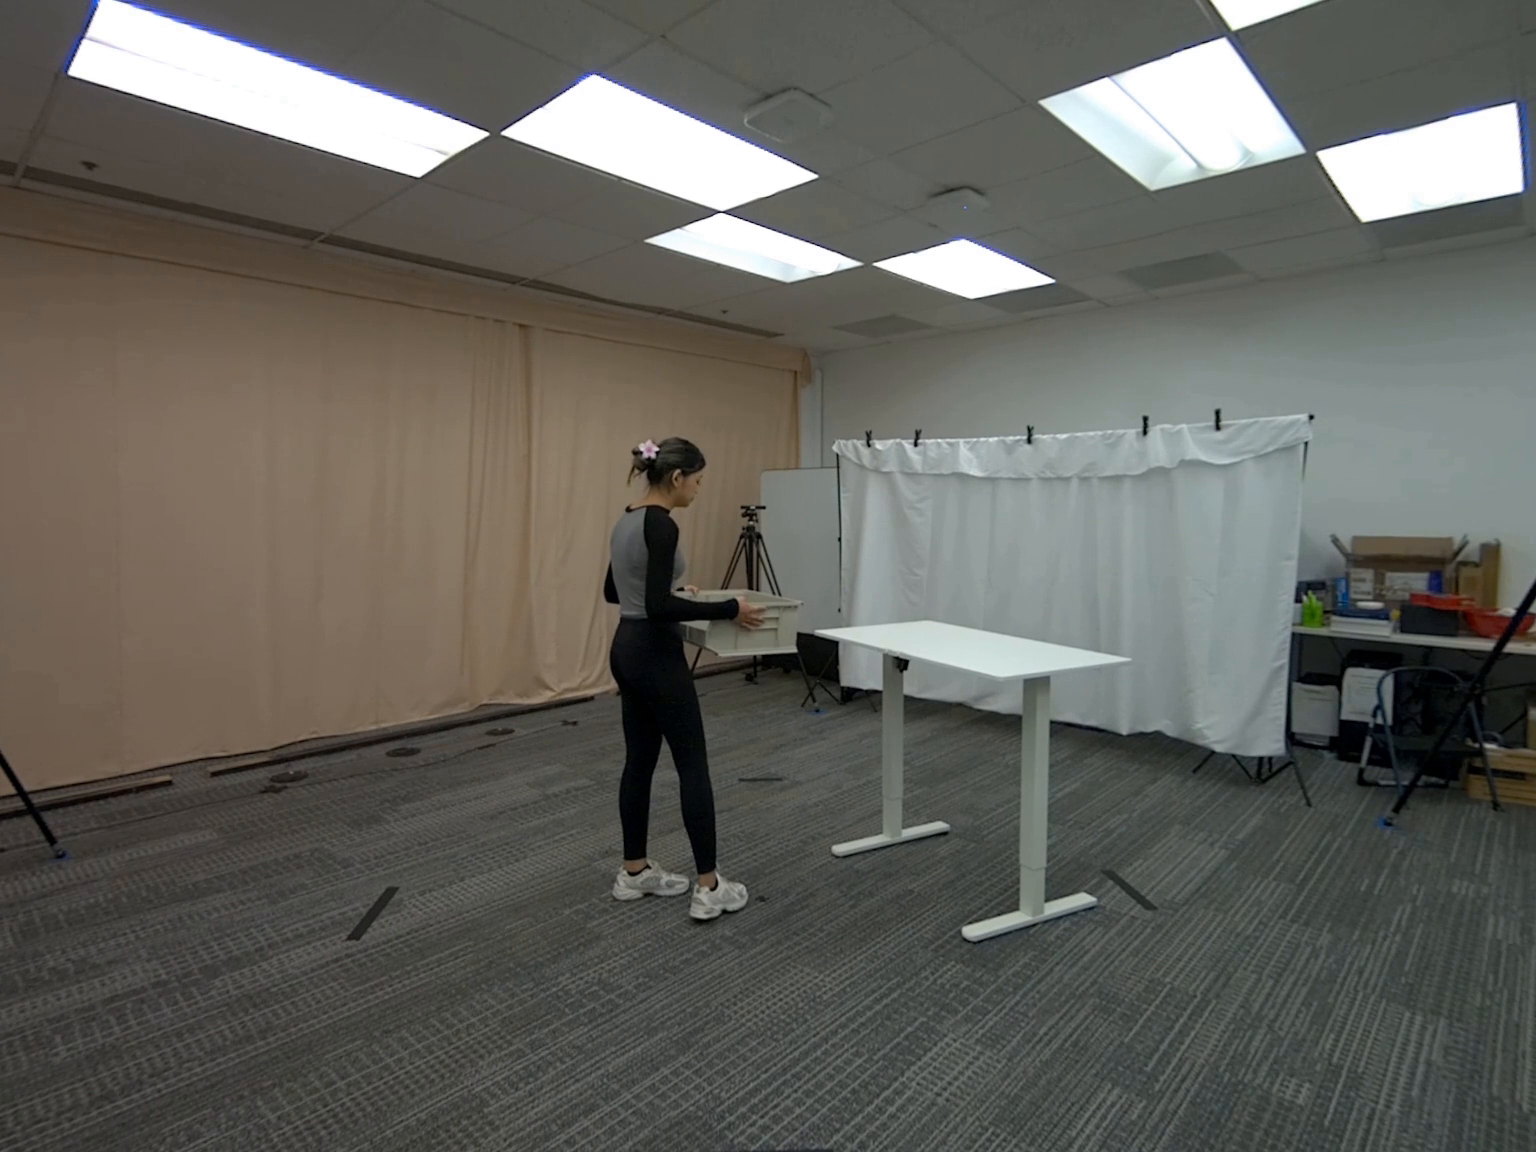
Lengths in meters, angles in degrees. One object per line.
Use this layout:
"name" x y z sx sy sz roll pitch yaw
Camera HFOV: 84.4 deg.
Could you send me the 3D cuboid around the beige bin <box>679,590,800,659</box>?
"beige bin" -0.148 0.165 3.072 0.367 0.189 0.434 1 3 -29
